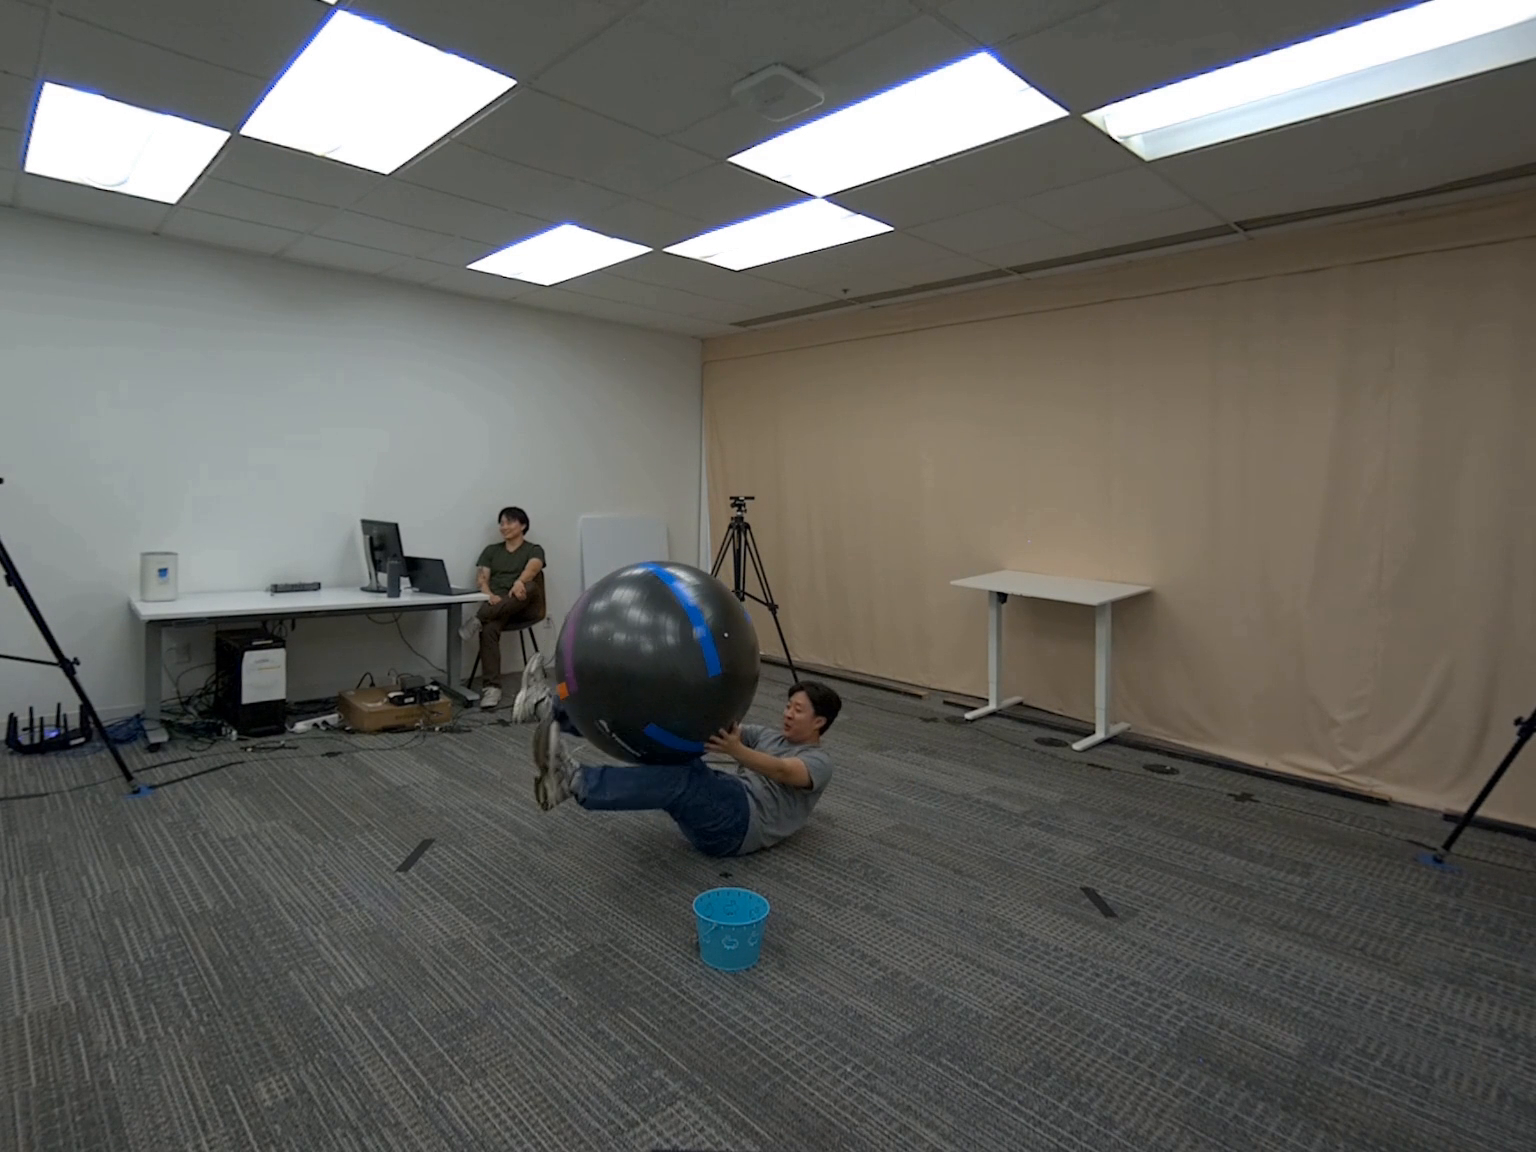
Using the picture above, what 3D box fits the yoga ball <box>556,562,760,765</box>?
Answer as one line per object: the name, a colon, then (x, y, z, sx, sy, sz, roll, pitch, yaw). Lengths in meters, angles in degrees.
yoga ball: (-0.410, 0.321, 3.146, 0.757, 0.756, 0.761, 1, 4, -1)
